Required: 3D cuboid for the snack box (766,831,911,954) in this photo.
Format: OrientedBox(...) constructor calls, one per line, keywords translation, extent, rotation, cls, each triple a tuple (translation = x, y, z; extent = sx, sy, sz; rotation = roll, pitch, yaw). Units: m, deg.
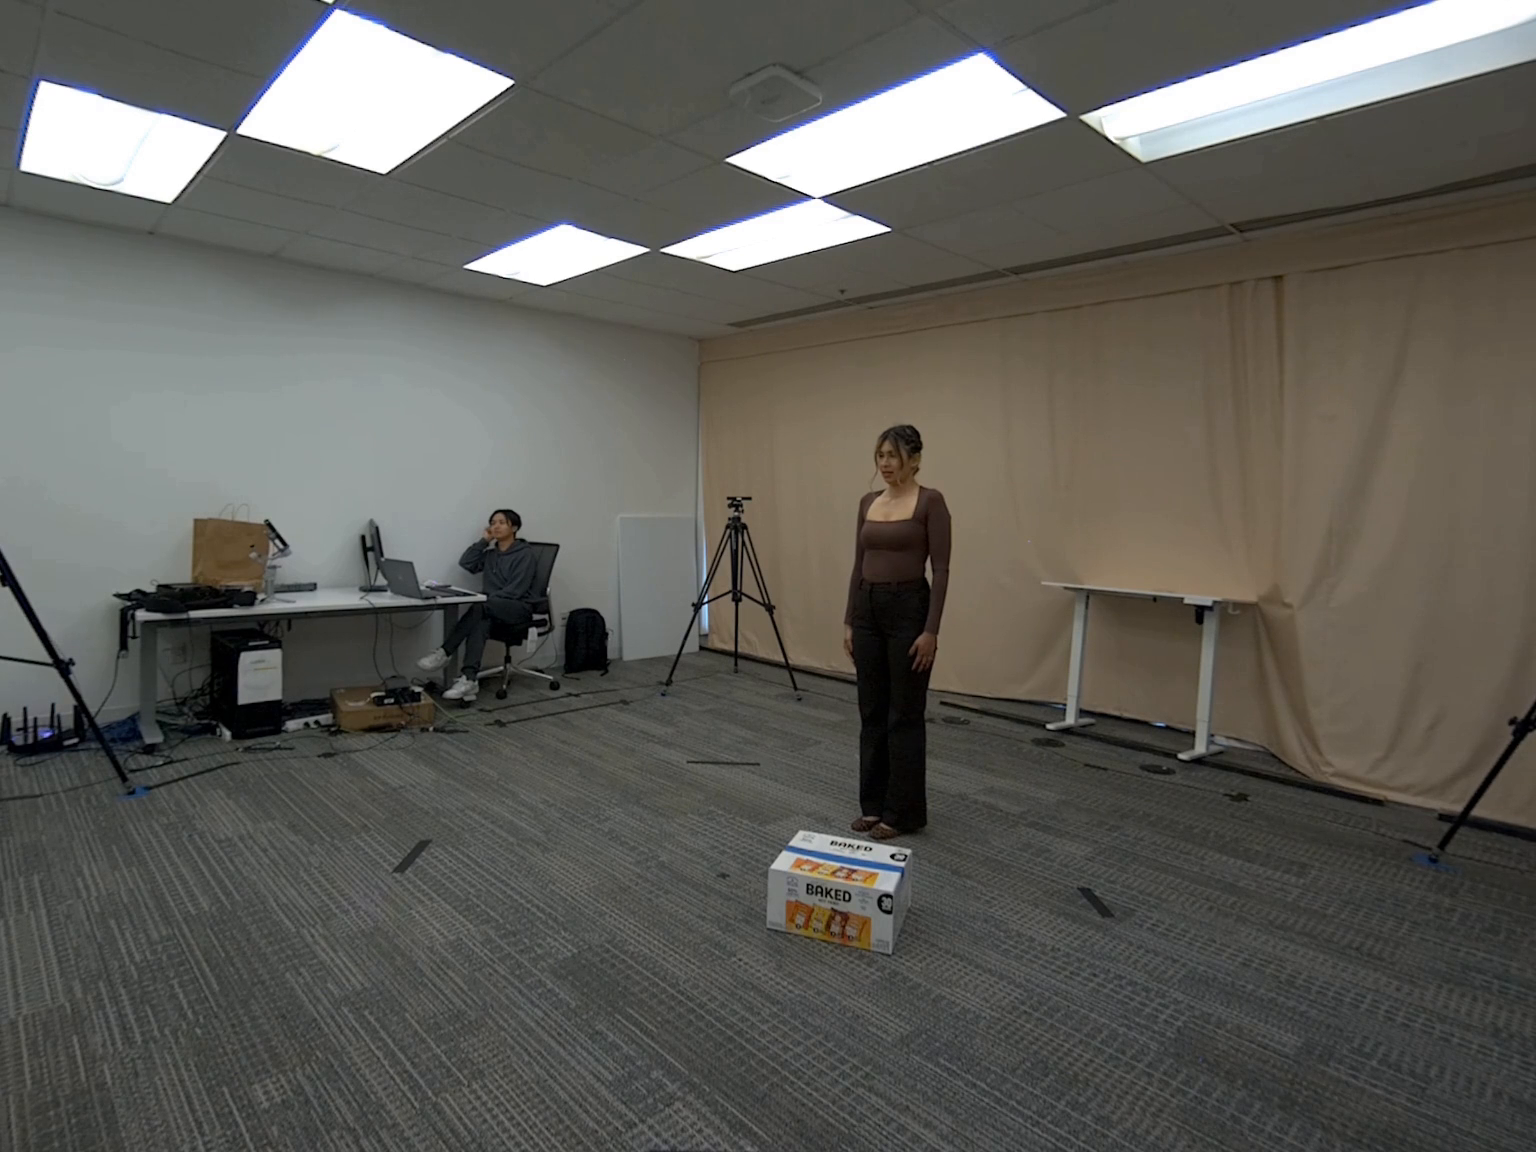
OrientedBox(translation=(0.241, 1.040, 2.801), extent=(0.412, 0.205, 0.336), rotation=(3, 5, 20), cls="snack box")
